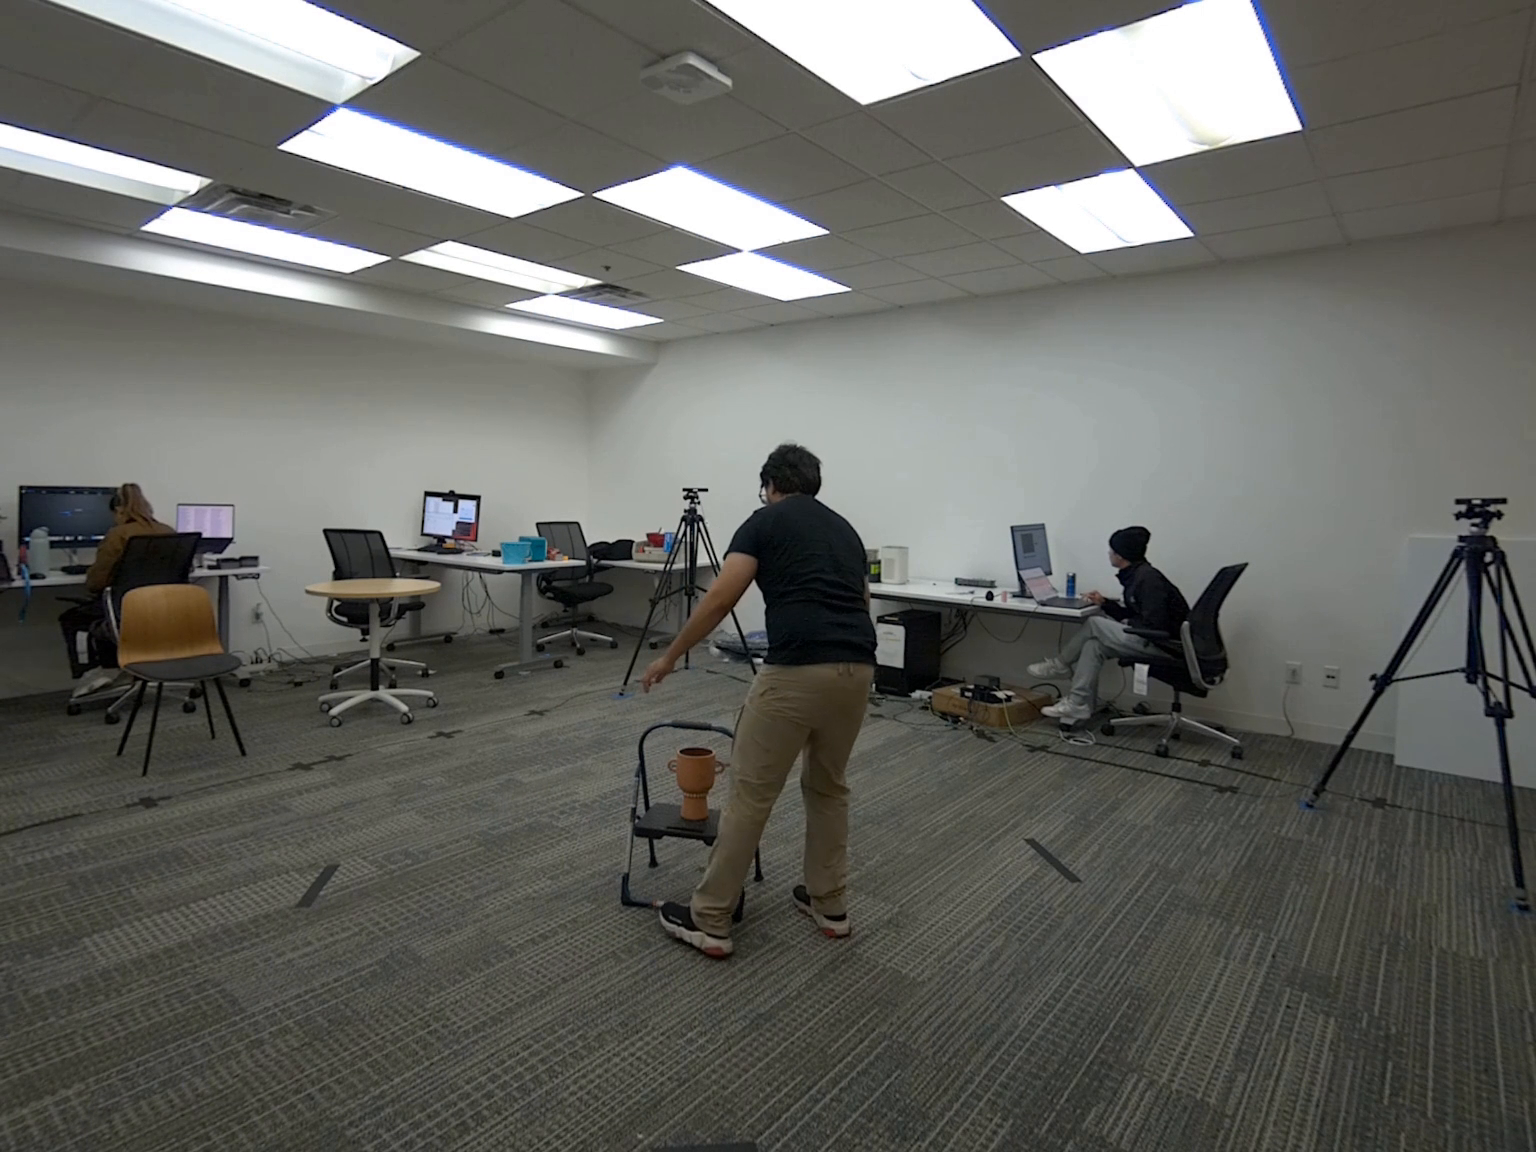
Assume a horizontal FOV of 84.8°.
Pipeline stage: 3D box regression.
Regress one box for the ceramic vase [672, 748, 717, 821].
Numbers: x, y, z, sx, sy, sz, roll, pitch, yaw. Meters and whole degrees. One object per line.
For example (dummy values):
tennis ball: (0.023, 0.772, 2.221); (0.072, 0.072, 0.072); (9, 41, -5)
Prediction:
ceramic vase: (-0.261, 0.715, 2.937); (0.164, 0.219, 0.130); (4, 3, 37)
